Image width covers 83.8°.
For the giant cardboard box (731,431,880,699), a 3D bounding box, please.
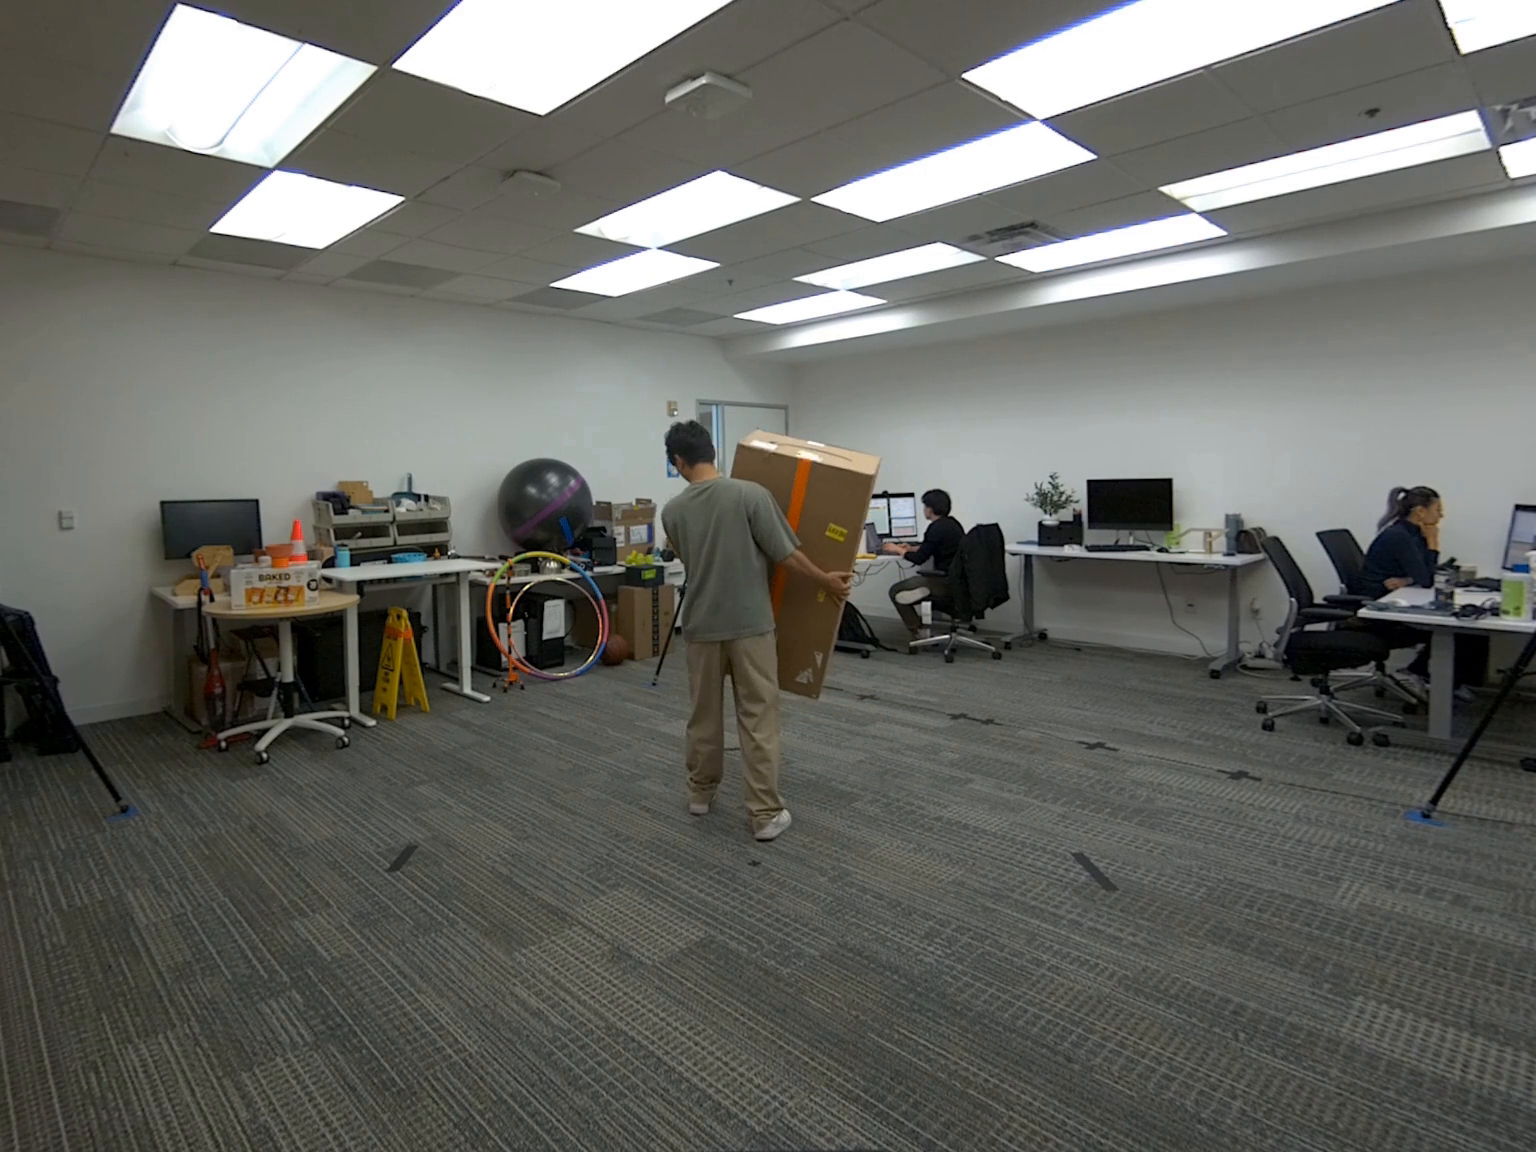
[{"bbox_3d":[0.085,-0.064,3.792,0.584,1.014,0.426,15,18,9],"label":"giant cardboard box"}]
